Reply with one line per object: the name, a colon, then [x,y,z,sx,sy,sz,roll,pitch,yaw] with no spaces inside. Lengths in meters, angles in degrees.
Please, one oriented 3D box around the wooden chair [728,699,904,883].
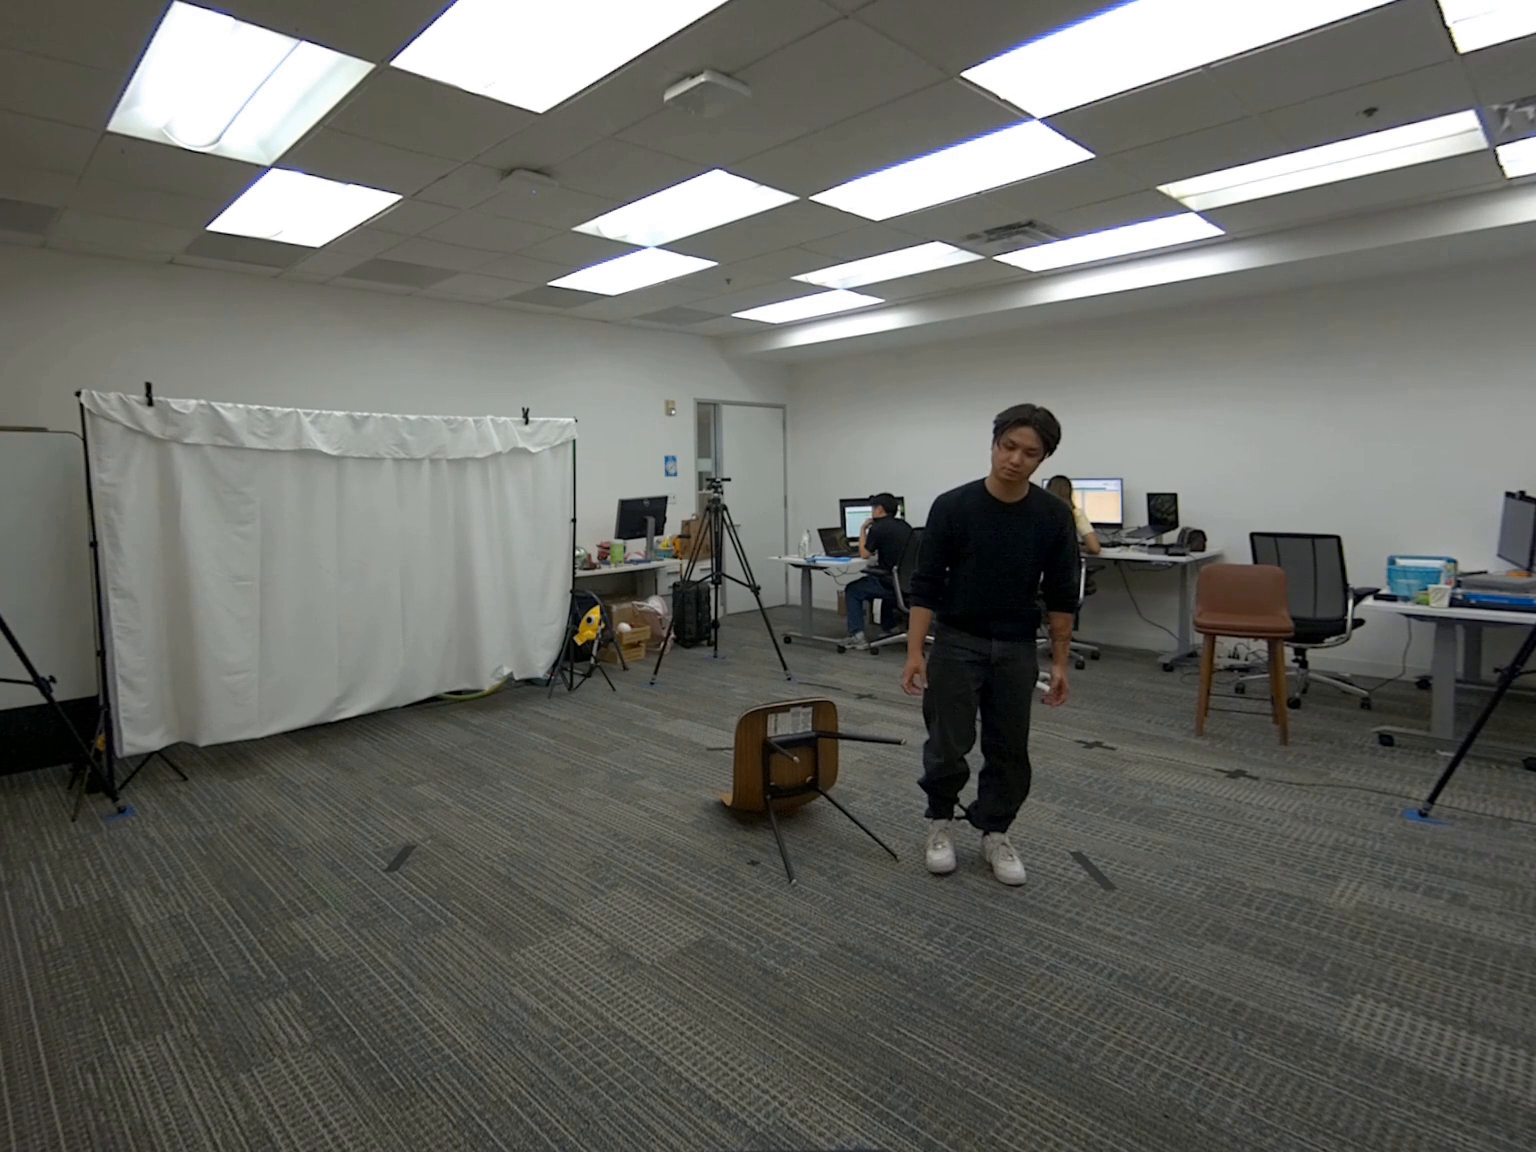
wooden chair: [0.098,0.750,3.376,0.468,0.521,0.899,-3,5,-25]
